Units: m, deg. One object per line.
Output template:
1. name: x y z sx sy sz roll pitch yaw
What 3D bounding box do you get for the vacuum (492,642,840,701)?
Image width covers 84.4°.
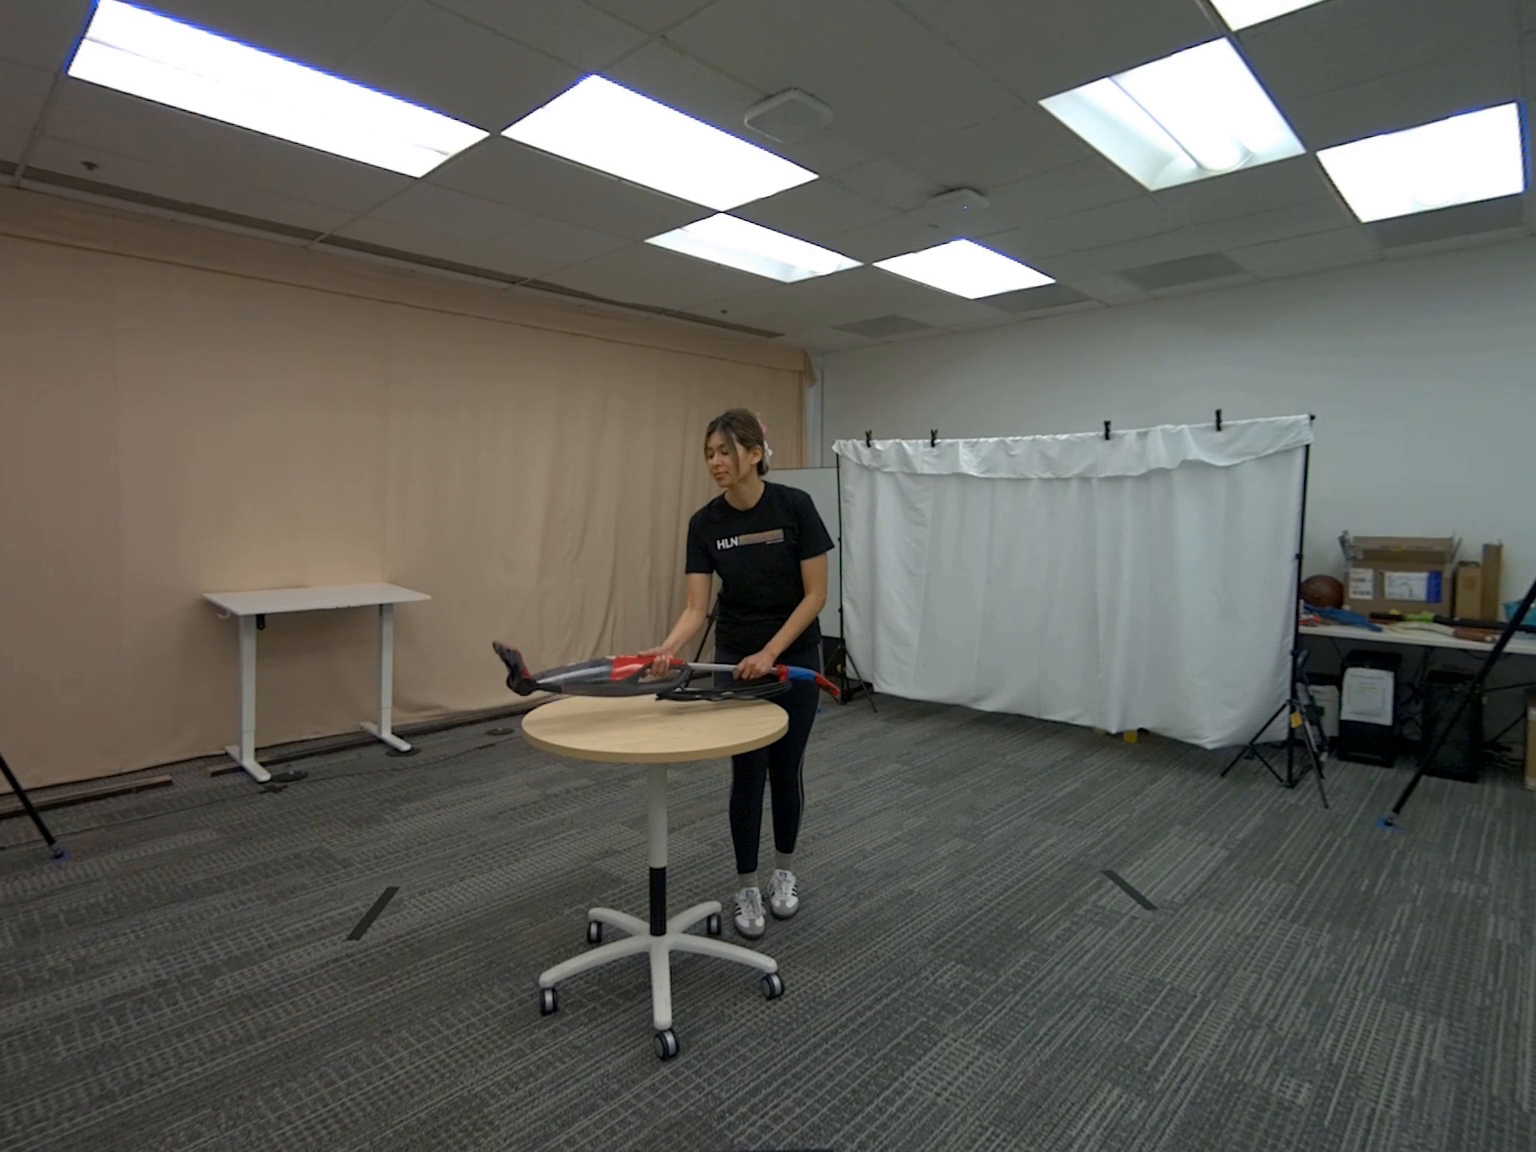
1. vacuum: -0.253 0.318 2.473 1.023 0.144 0.258 8 -3 -24
